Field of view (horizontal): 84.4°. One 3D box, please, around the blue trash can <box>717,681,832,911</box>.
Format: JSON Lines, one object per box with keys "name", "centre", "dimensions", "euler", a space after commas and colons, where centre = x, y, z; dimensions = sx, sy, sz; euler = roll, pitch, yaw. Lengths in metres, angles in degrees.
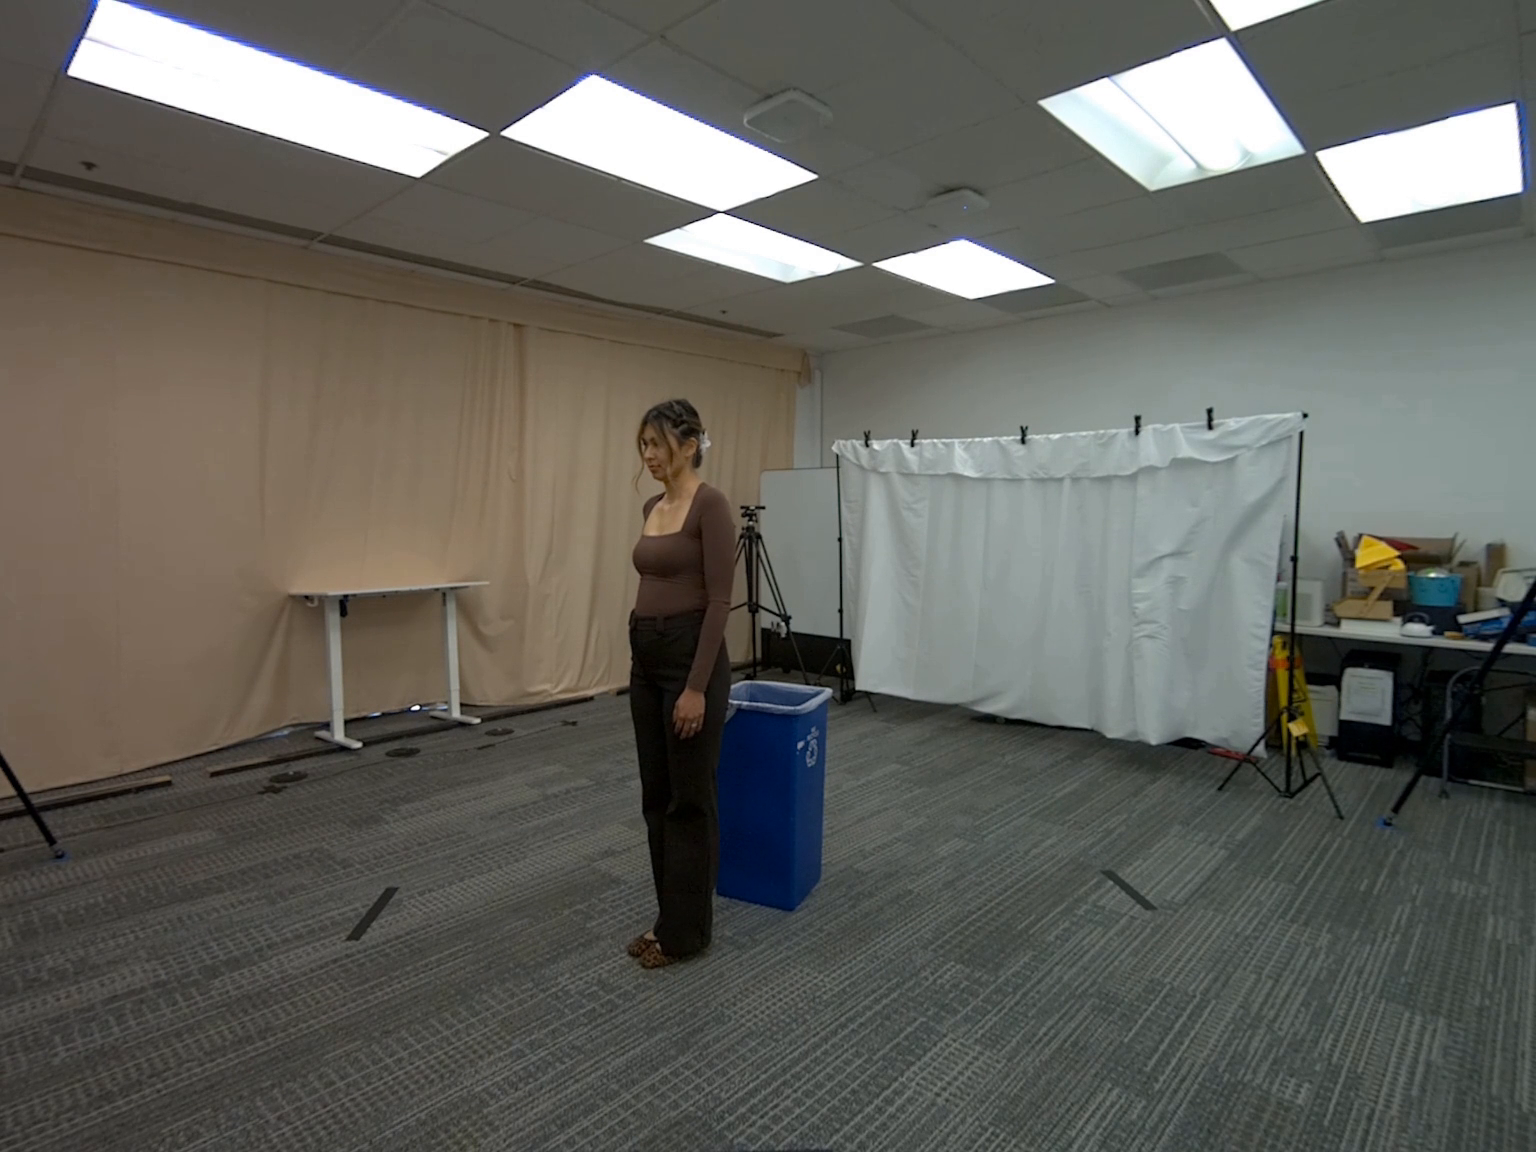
{"name": "blue trash can", "centre": [0.006, 0.778, 3.062], "dimensions": [0.384, 0.712, 0.369], "euler": [3, 4, 24]}
